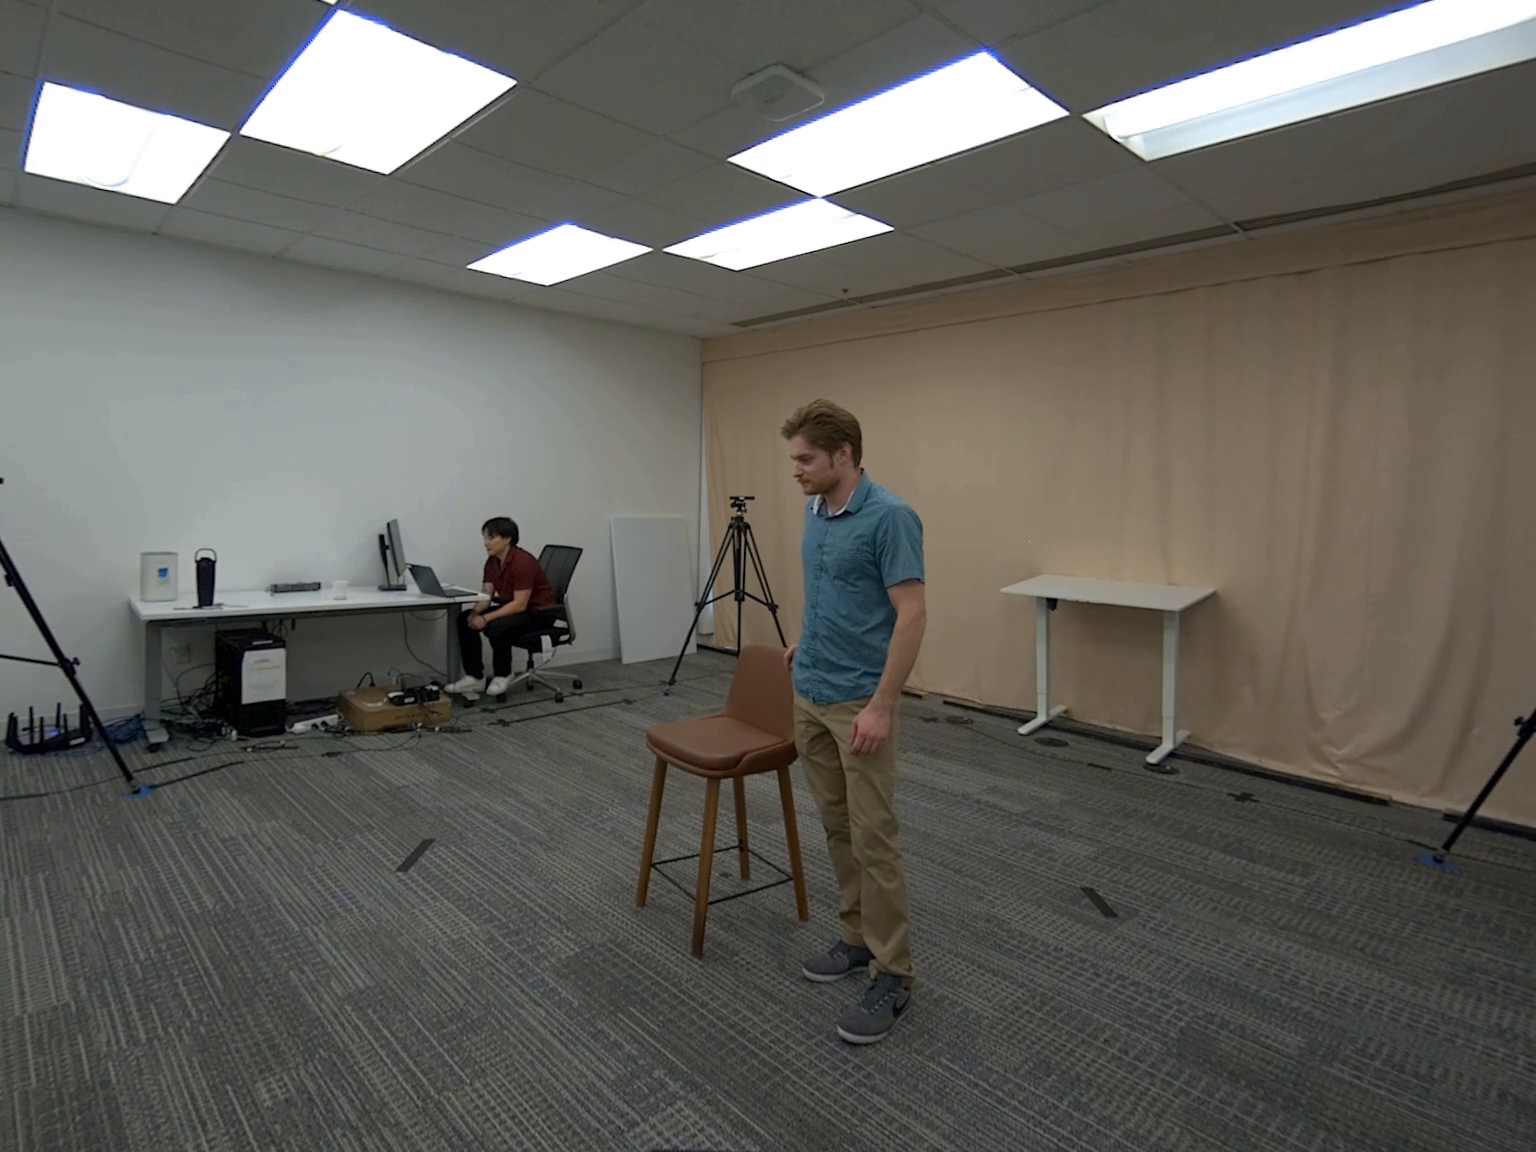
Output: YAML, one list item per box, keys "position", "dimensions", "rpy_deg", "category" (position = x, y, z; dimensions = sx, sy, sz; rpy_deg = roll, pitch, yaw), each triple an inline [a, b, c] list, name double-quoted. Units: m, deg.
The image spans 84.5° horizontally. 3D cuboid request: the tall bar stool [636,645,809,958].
- position: [-0.145, 0.700, 2.802]
  dimensions: [0.457, 0.888, 0.467]
  rpy_deg: [1, 3, -35]
  category: "tall bar stool"
